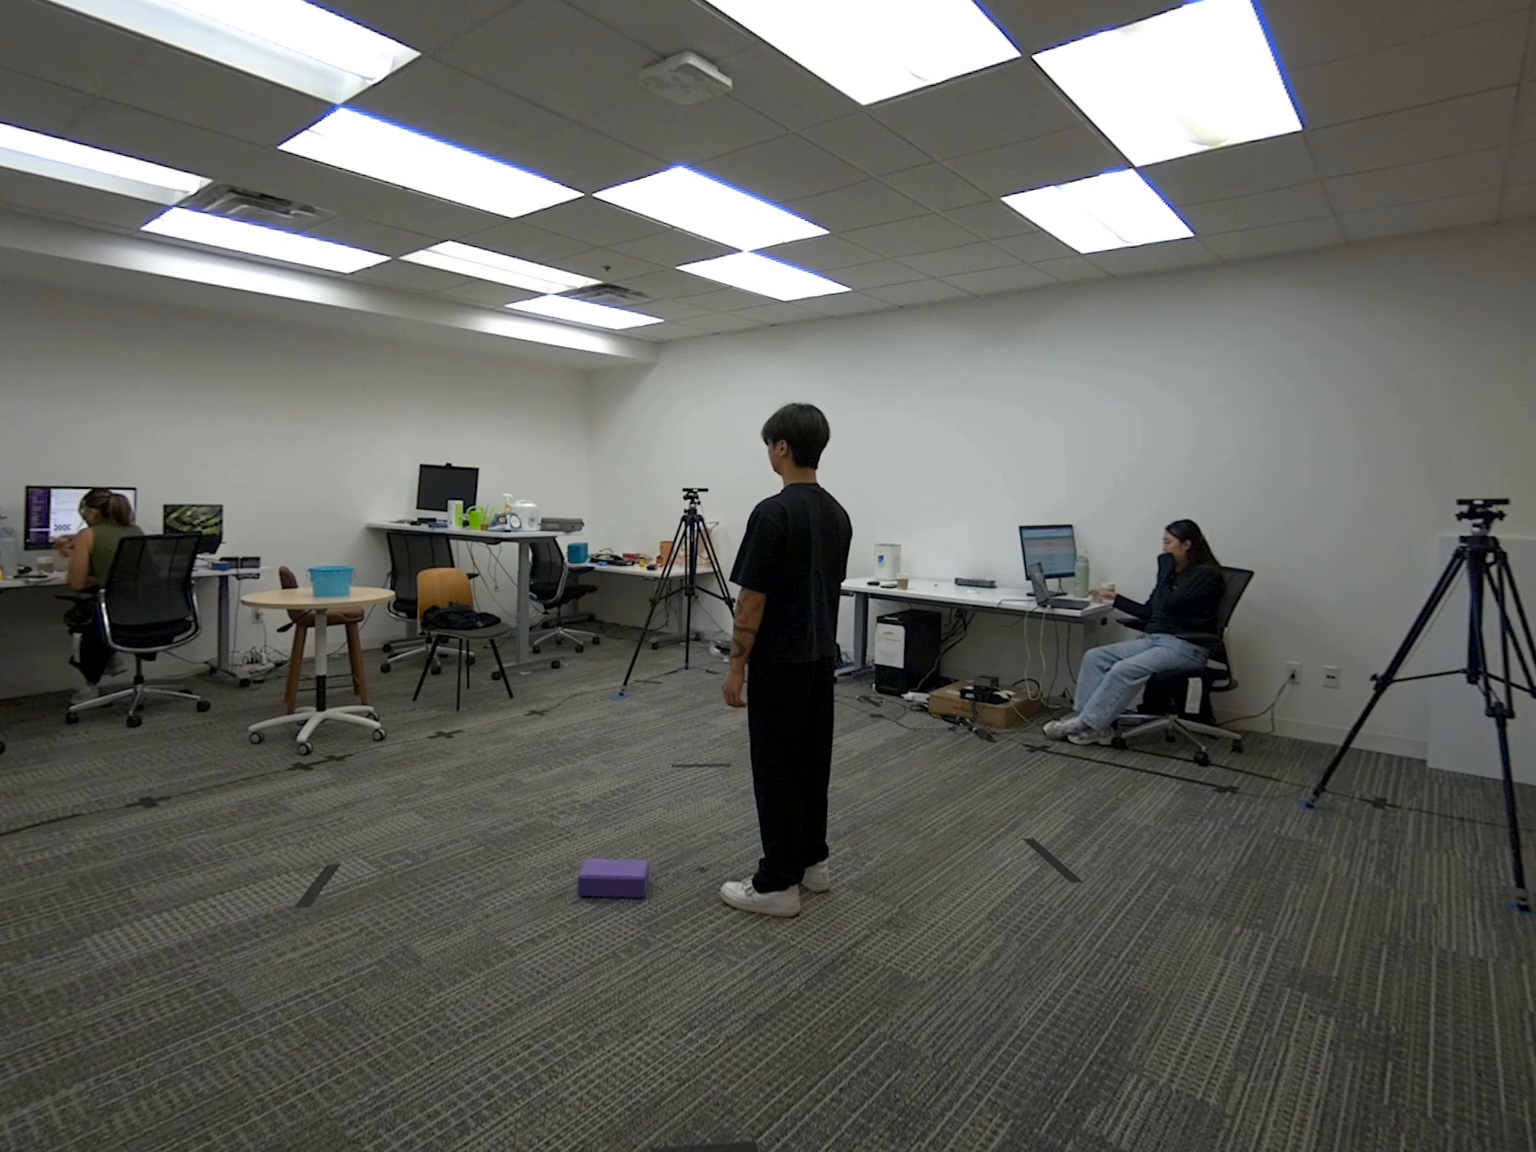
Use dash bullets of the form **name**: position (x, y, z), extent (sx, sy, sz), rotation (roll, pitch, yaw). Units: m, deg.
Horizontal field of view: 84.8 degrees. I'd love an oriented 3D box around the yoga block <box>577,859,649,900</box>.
- **yoga block**: position (-0.541, 1.043, 2.942), extent (0.230, 0.076, 0.149), rotation (0, 3, 1)
